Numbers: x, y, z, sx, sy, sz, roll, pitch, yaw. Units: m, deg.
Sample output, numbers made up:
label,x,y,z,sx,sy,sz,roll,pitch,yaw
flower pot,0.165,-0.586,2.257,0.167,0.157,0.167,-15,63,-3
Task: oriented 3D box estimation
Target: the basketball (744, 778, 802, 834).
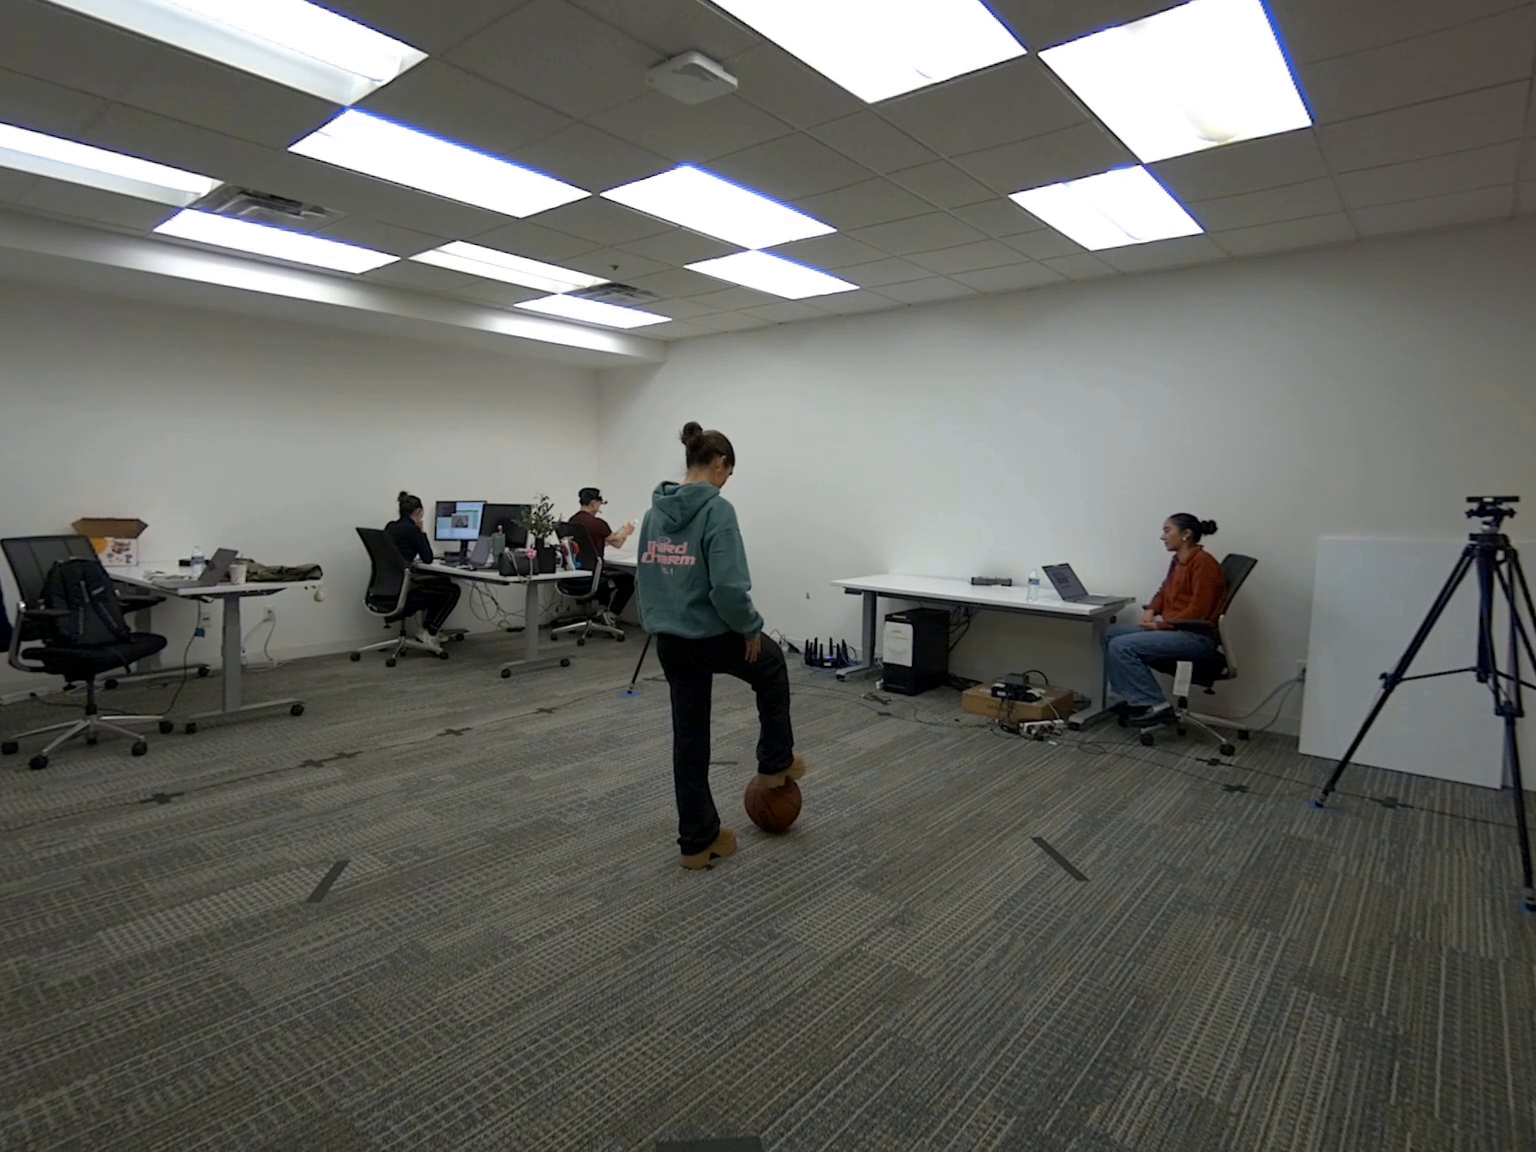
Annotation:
label,x,y,z,sx,sy,sz,roll,pitch,yaw
basketball,0.007,0.910,3.477,0.236,0.235,0.237,1,4,-2
